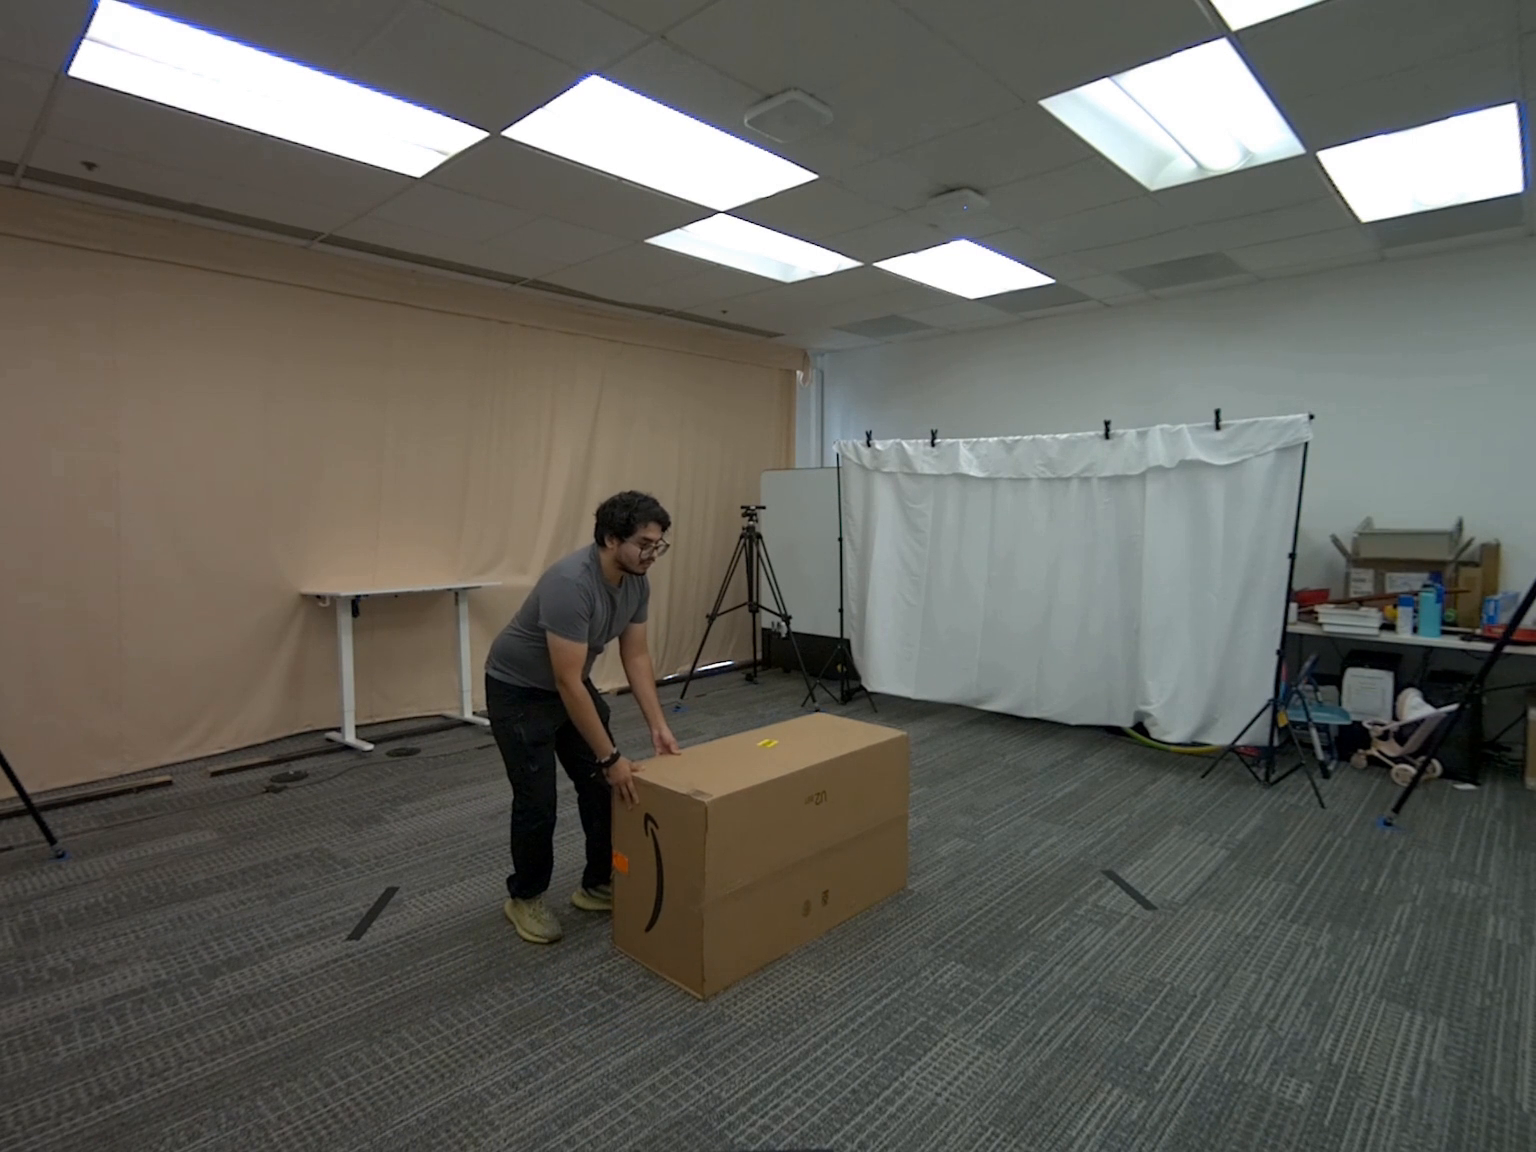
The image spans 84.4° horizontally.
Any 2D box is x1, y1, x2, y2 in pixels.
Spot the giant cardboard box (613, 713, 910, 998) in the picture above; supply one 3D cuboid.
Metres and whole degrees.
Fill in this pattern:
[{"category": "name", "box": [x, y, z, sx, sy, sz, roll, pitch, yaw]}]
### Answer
[{"category": "giant cardboard box", "box": [0.014, 0.870, 2.852, 0.440, 0.576, 0.994, 4, 6, 44]}]
